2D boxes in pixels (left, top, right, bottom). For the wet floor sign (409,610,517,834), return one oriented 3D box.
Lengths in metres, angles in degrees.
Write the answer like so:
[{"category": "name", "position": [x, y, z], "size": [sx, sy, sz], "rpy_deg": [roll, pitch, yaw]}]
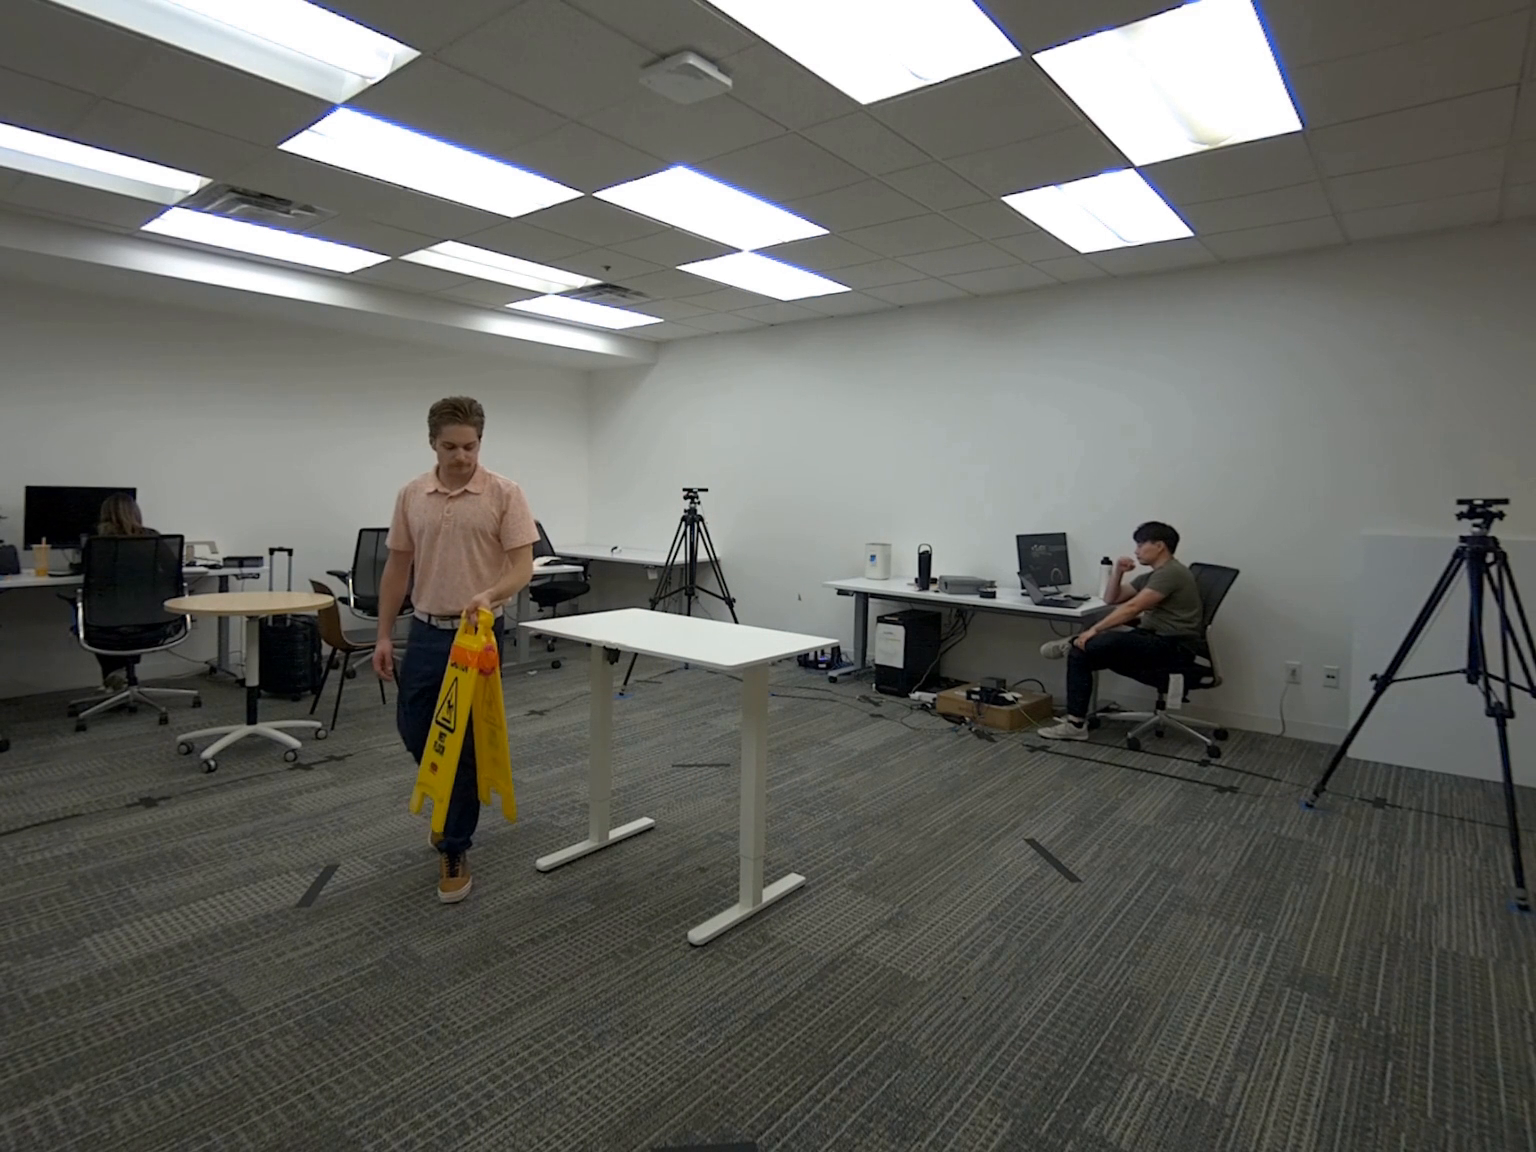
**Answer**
[{"category": "wet floor sign", "position": [-0.956, 0.428, 2.674], "size": [0.280, 0.647, 0.291], "rpy_deg": [6, -3, -39]}]
